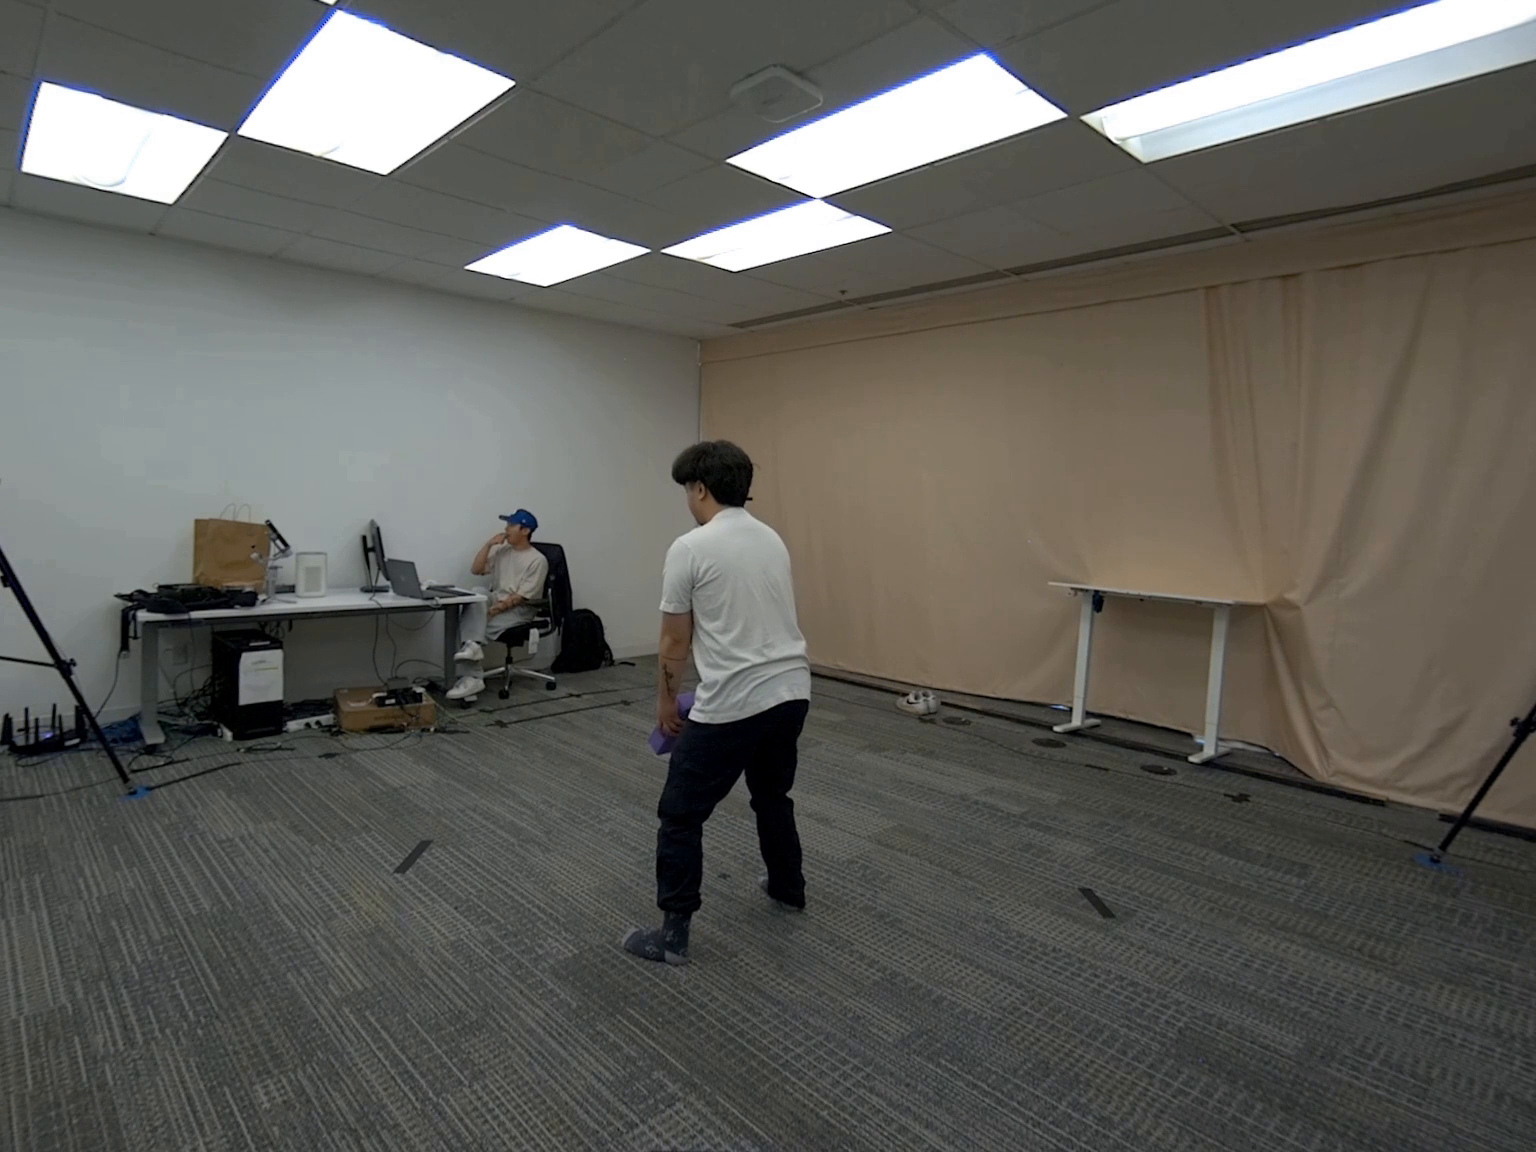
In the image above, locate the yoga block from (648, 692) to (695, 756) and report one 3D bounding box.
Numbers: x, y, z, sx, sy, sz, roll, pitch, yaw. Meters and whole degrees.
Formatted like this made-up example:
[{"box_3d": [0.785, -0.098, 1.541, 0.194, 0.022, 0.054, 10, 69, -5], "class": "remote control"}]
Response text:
[{"box_3d": [-0.299, 0.508, 2.883, 0.145, 0.228, 0.079, -3, 39, -47], "class": "yoga block"}]
